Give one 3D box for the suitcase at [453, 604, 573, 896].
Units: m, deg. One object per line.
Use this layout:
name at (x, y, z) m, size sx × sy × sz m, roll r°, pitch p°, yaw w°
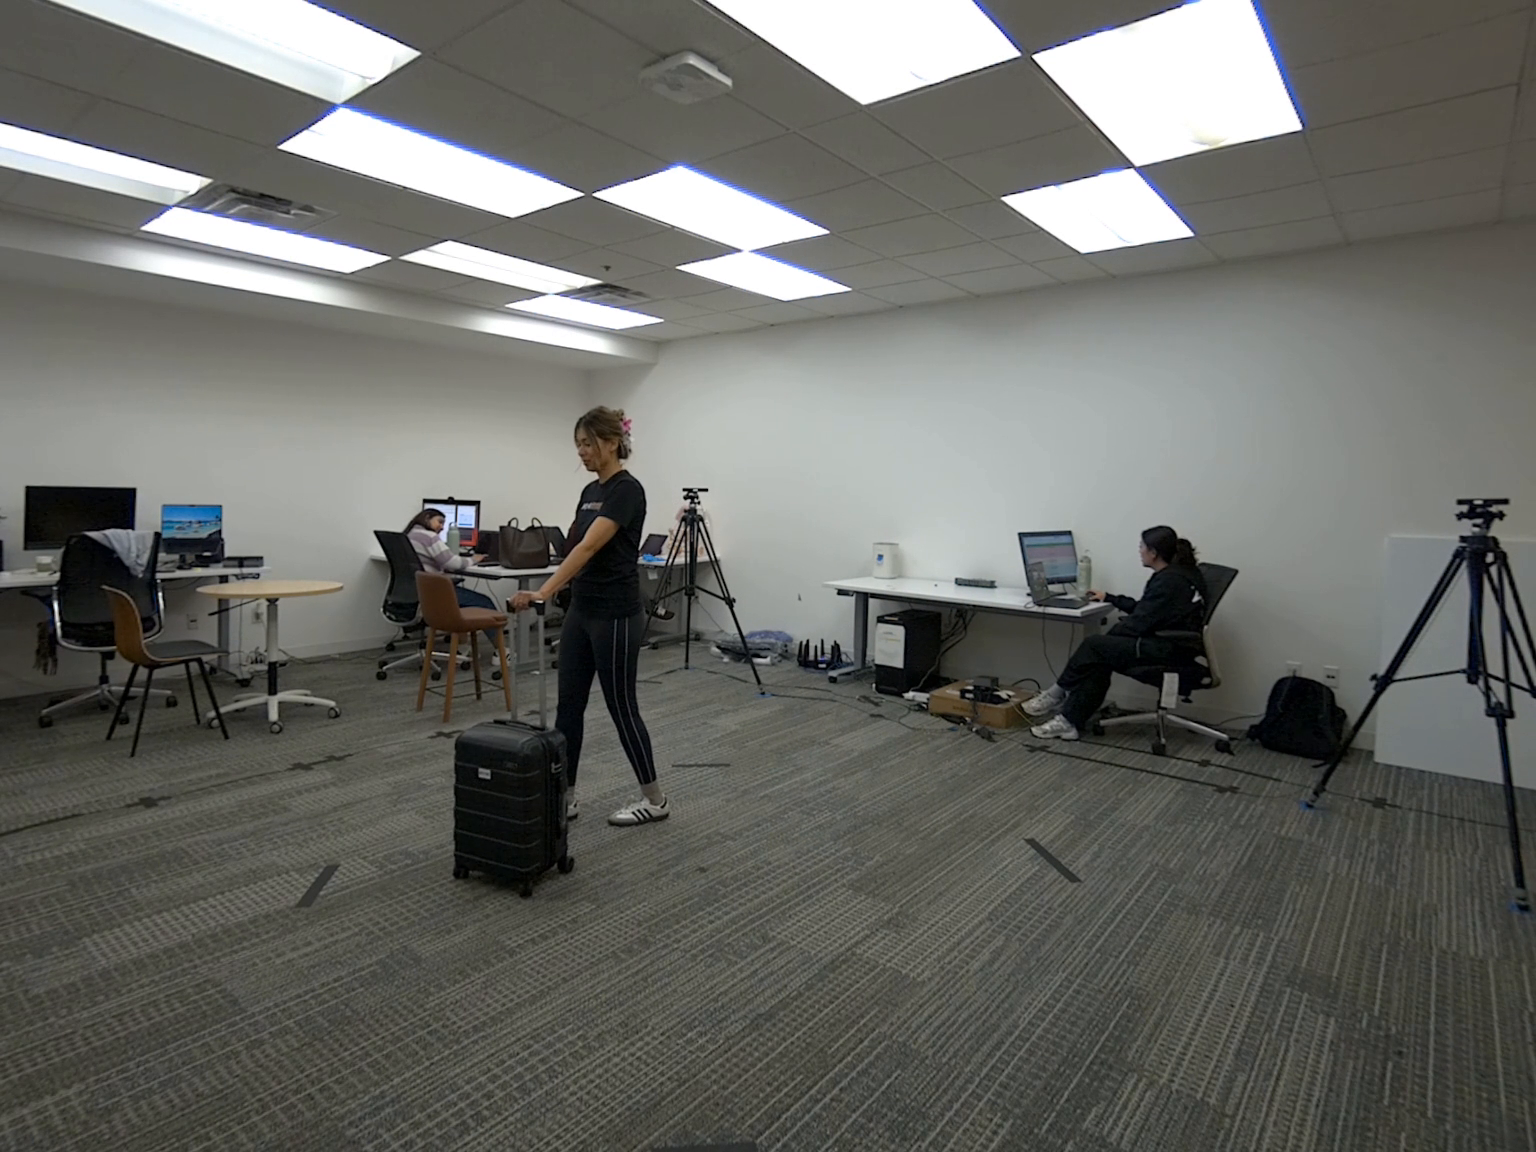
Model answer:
suitcase at (-0.919, 0.597, 2.980) m, size 0.394 × 0.971 × 0.252 m, roll 3°, pitch 8°, yaw 24°
